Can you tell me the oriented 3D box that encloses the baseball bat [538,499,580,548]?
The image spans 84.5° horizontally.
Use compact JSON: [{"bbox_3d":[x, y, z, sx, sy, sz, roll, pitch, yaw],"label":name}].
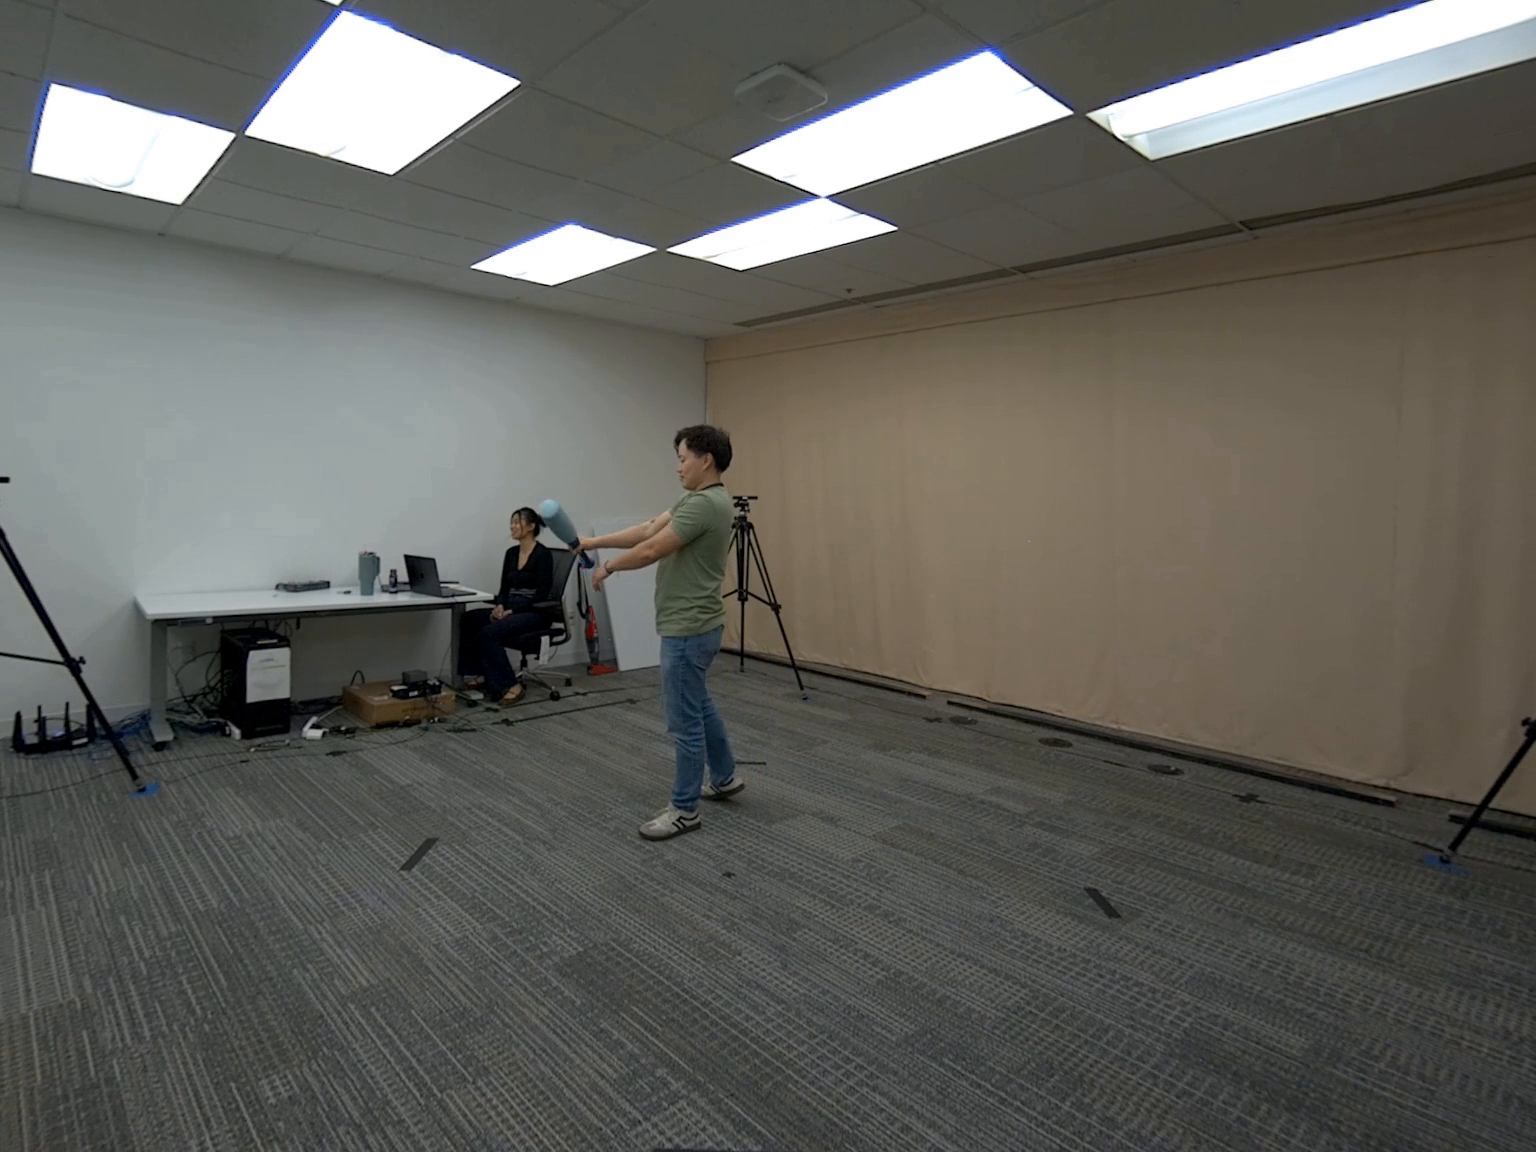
[{"bbox_3d":[-0.803,-0.153,3.440,0.090,0.090,0.530,3,-22,12],"label":"baseball bat"}]
